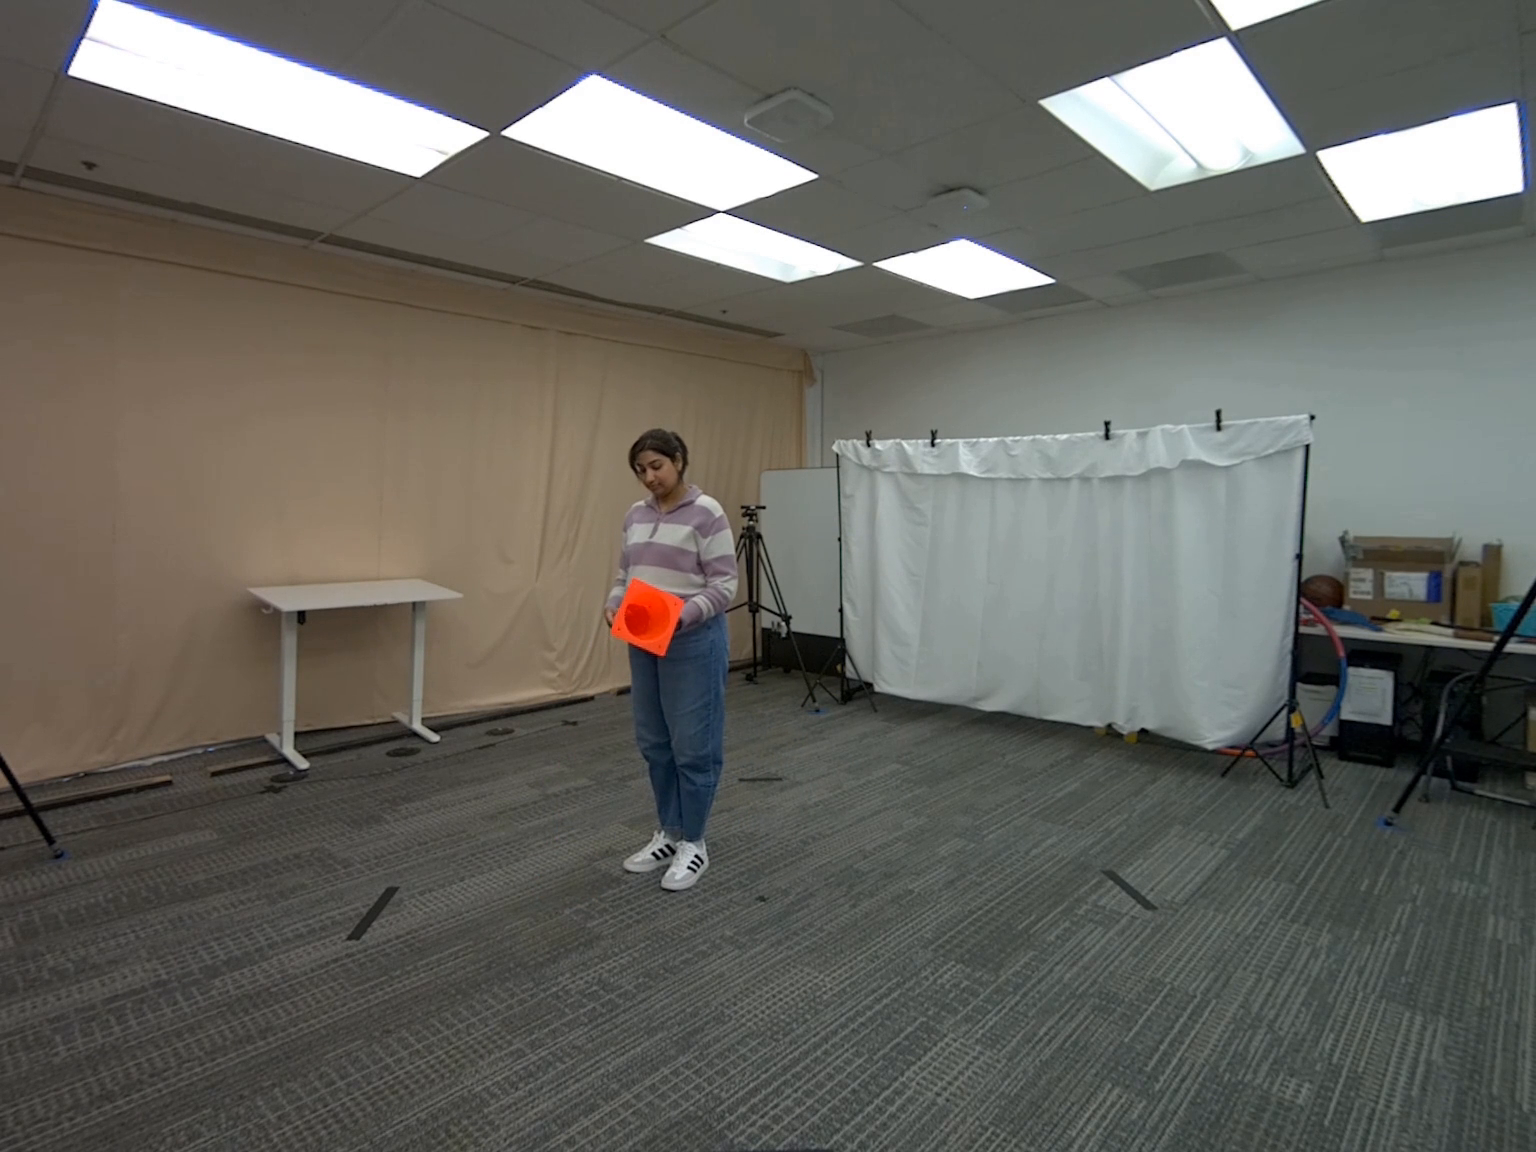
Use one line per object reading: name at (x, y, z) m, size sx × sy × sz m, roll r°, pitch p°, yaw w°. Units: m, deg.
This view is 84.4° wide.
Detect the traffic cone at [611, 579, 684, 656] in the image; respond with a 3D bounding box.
traffic cone at (-0.454, 0.162, 2.897) m, size 0.202 × 0.204 × 0.389 m, roll 26°, pitch -14°, yaw -15°
